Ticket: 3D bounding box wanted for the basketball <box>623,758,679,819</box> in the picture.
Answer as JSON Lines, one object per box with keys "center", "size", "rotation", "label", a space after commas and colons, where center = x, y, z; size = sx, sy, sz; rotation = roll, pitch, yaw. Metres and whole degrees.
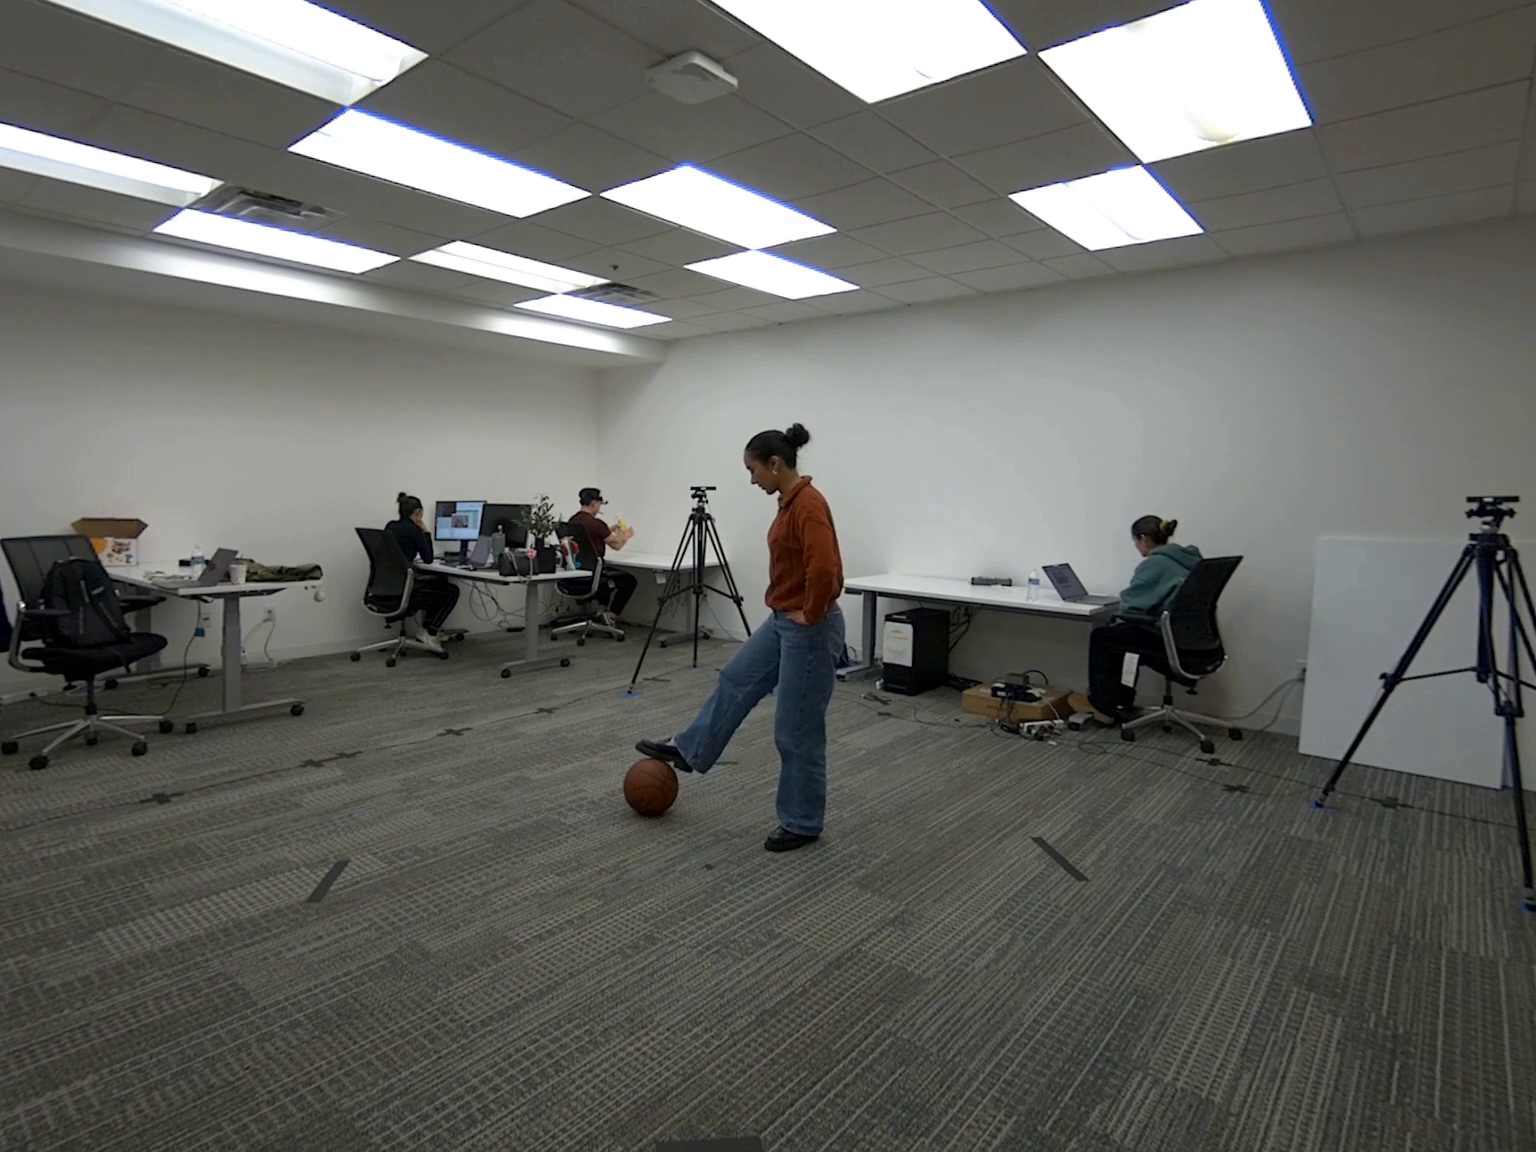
{"center": [-0.515, 0.892, 3.629], "size": [0.235, 0.235, 0.237], "rotation": [1, 4, -2], "label": "basketball"}
